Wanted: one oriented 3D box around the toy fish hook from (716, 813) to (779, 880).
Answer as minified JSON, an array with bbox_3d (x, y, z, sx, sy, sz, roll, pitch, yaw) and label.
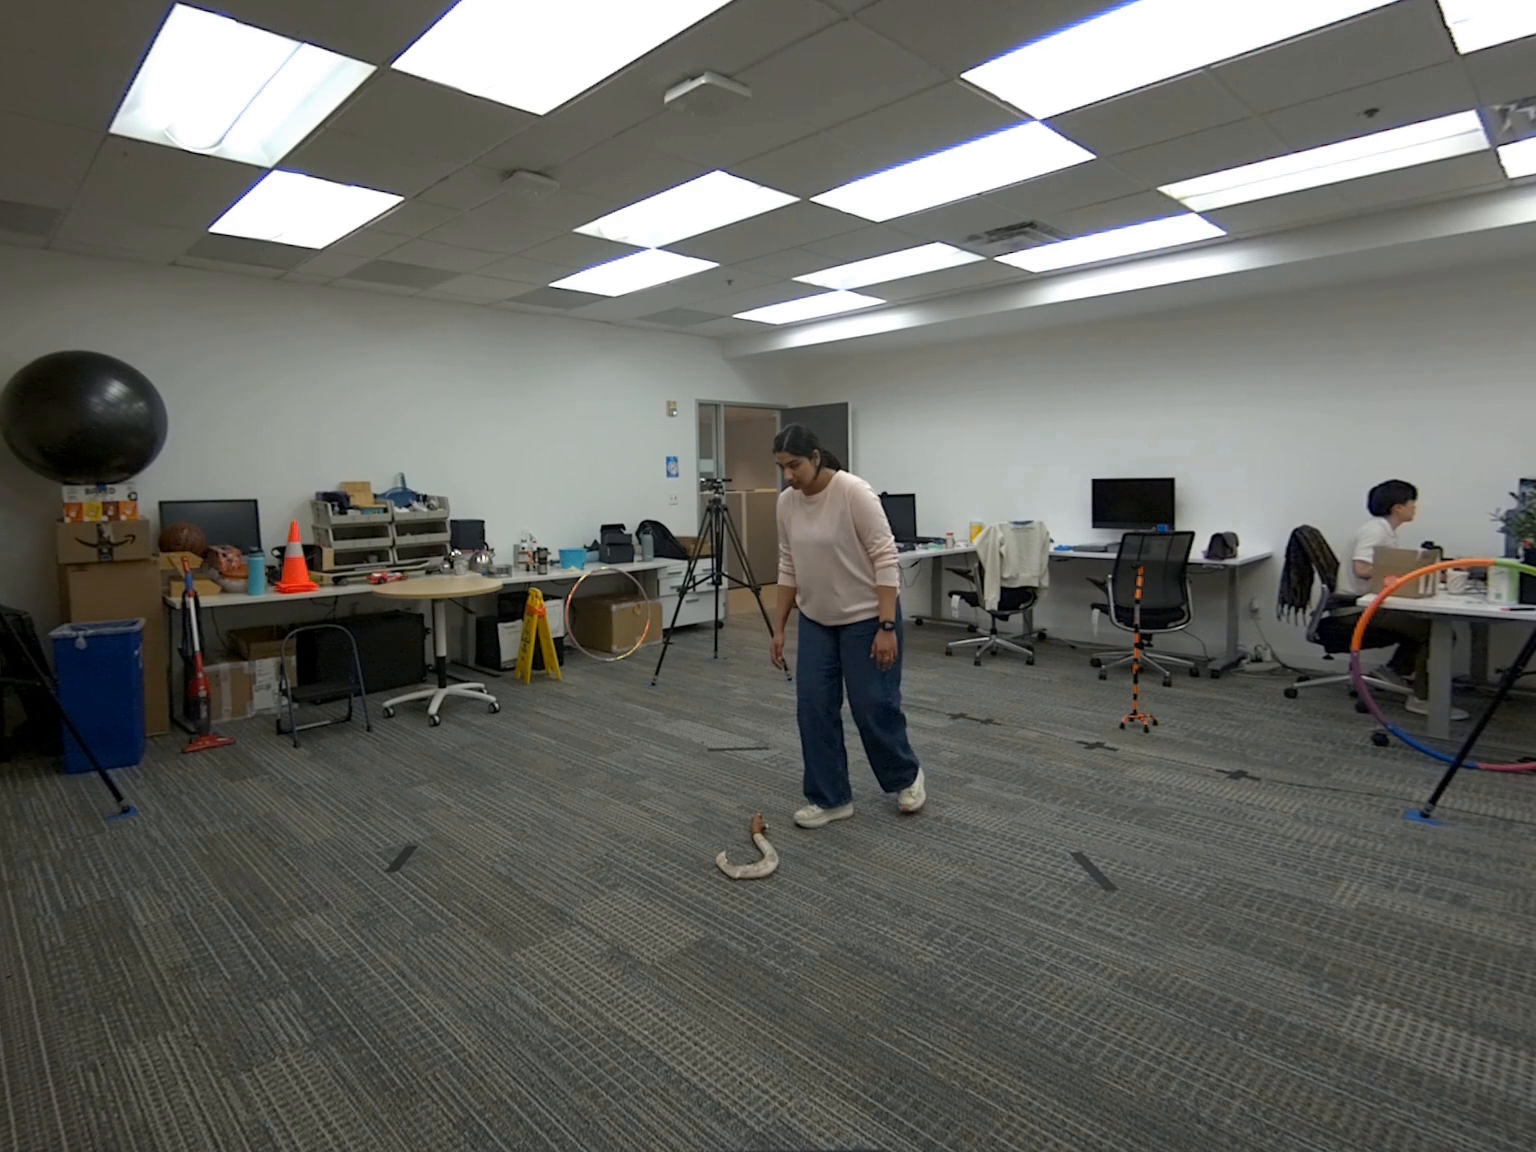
[{"bbox_3d":[-0.082,1.008,3.220,0.224,0.048,0.510,-1,6,-3],"label":"toy fish hook"}]
